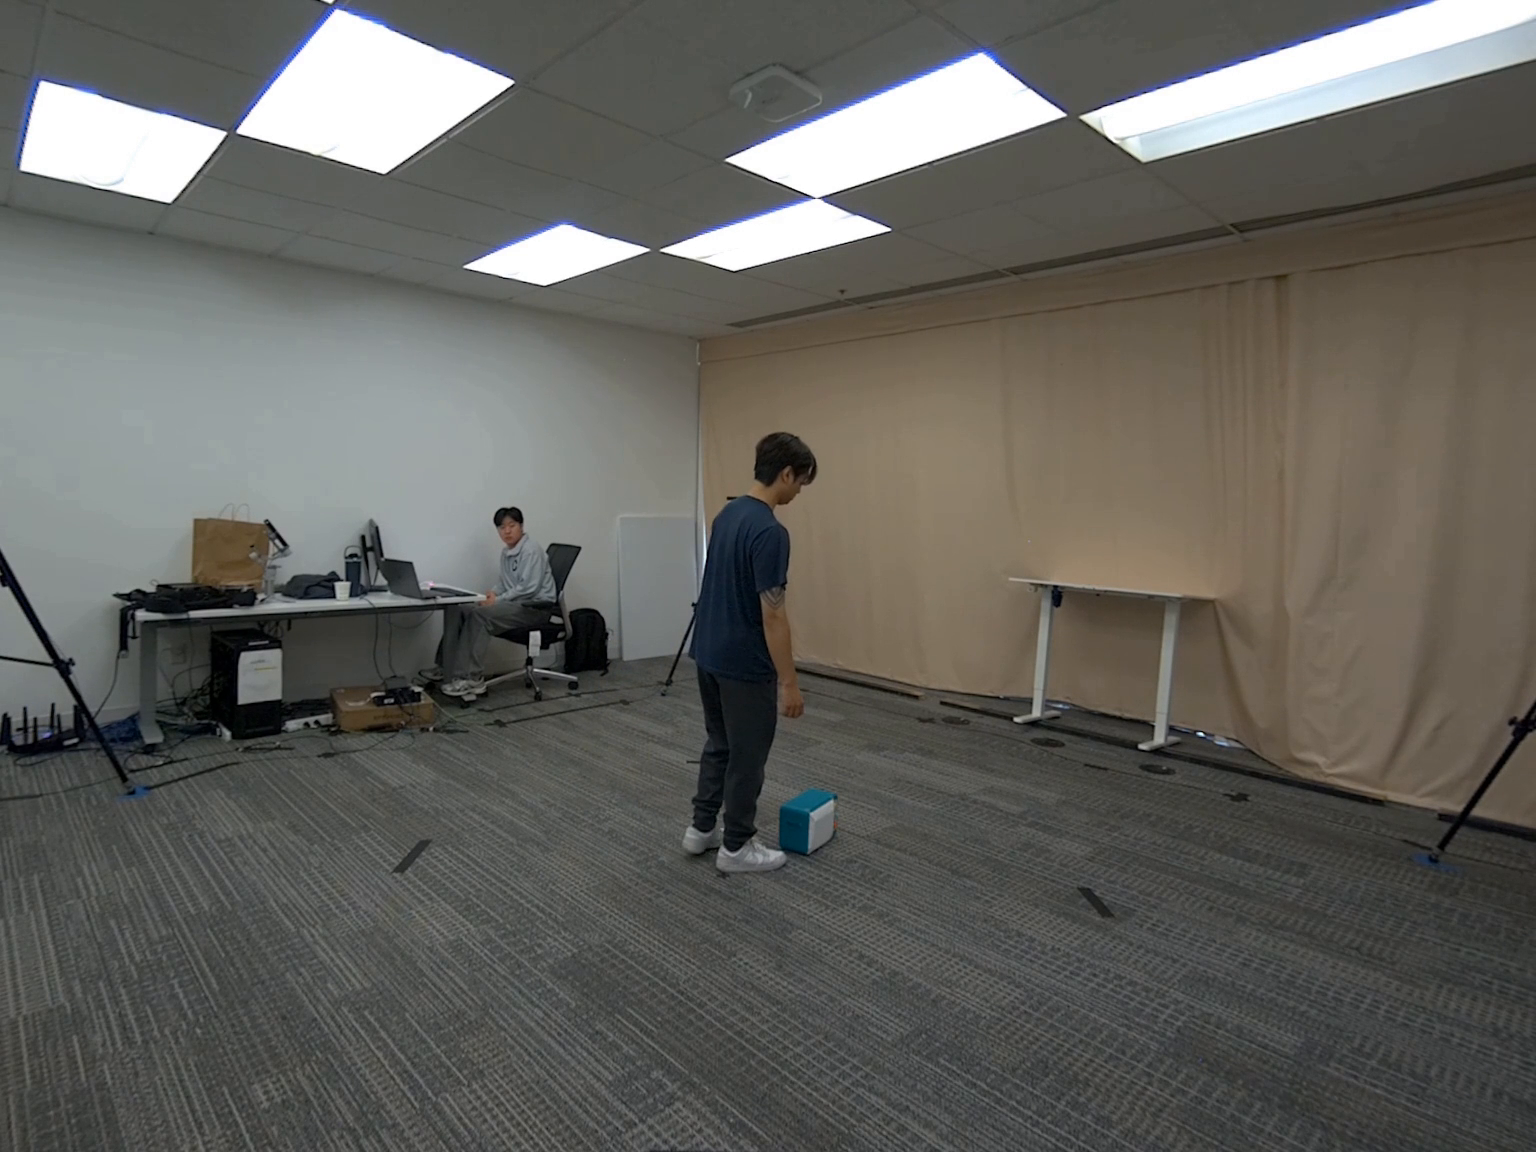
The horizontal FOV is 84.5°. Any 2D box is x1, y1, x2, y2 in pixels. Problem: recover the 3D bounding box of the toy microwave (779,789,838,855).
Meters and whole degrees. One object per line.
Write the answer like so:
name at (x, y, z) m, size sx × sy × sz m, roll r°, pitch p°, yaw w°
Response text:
toy microwave at (0.164, 0.994, 3.415) m, size 0.156 × 0.184 × 0.280 m, roll 3°, pitch 4°, yaw 32°
